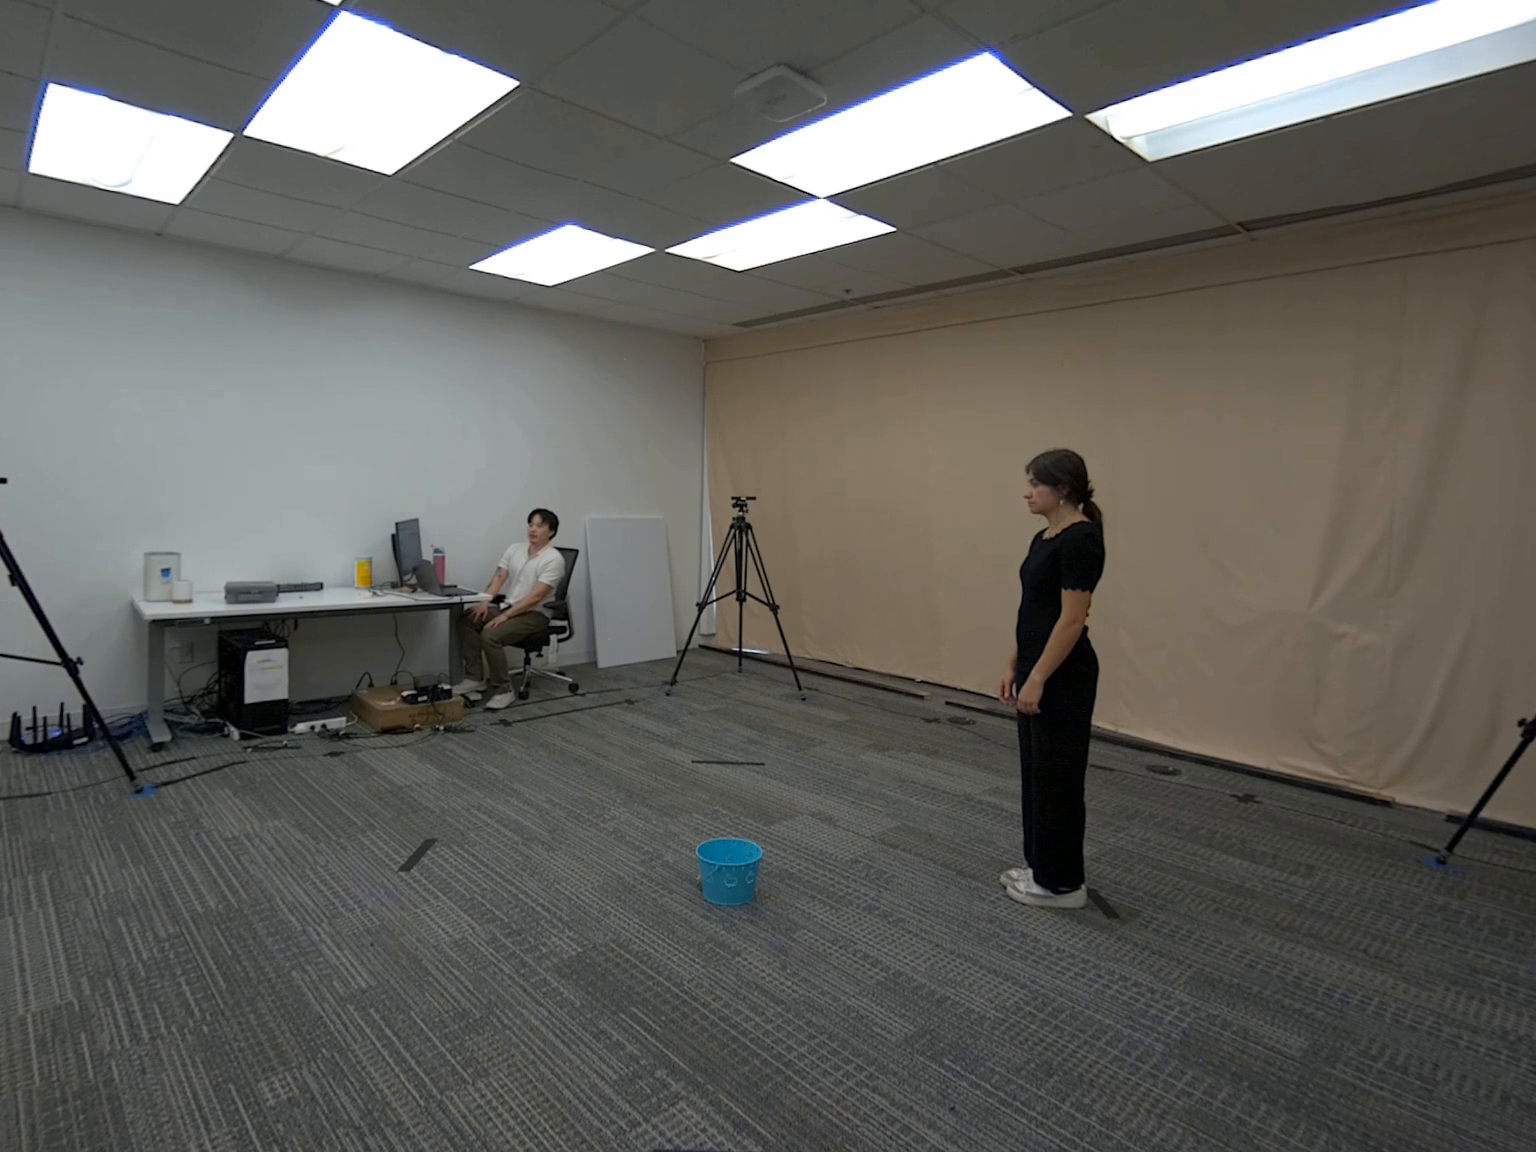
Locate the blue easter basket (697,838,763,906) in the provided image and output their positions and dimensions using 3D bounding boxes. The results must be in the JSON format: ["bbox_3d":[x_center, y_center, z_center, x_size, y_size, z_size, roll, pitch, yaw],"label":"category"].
[{"bbox_3d":[-0.145,1.035,2.967,0.243,0.155,0.244,0,5,-1],"label":"blue easter basket"}]
